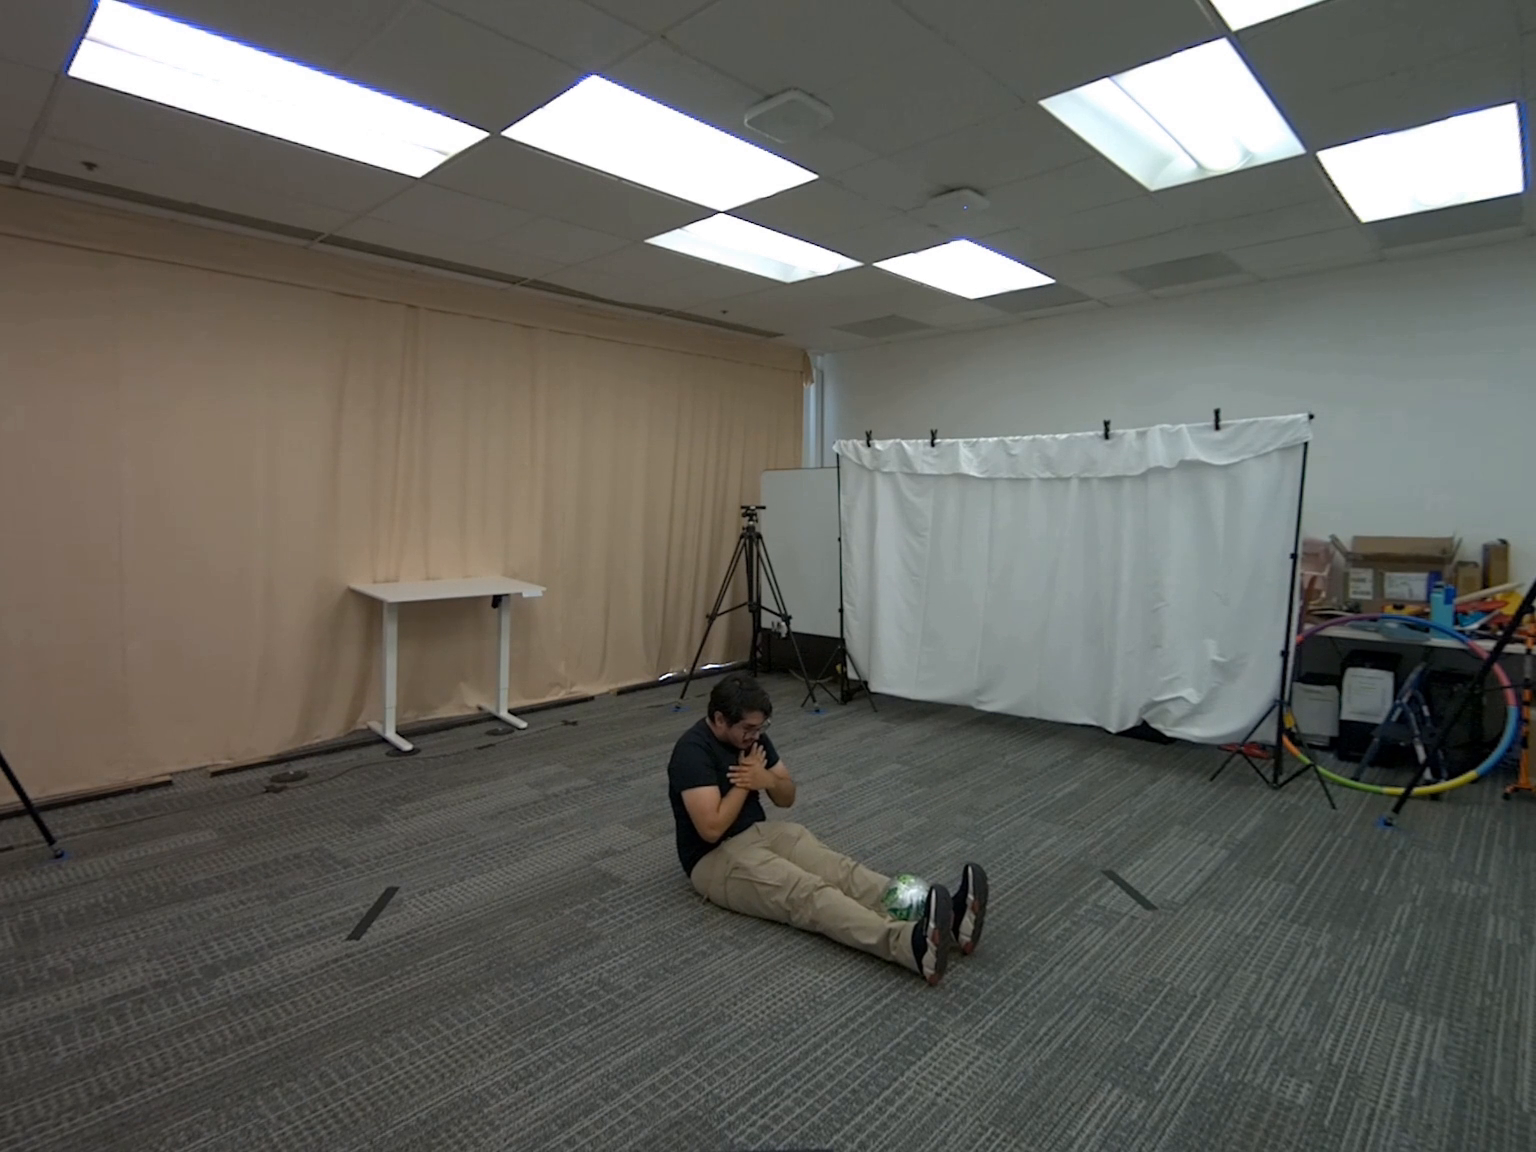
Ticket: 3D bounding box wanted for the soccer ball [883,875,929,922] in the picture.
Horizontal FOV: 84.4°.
[{"bbox_3d":[0.448,1.032,2.613,0.187,0.187,0.188,0,4,-2],"label":"soccer ball"}]
